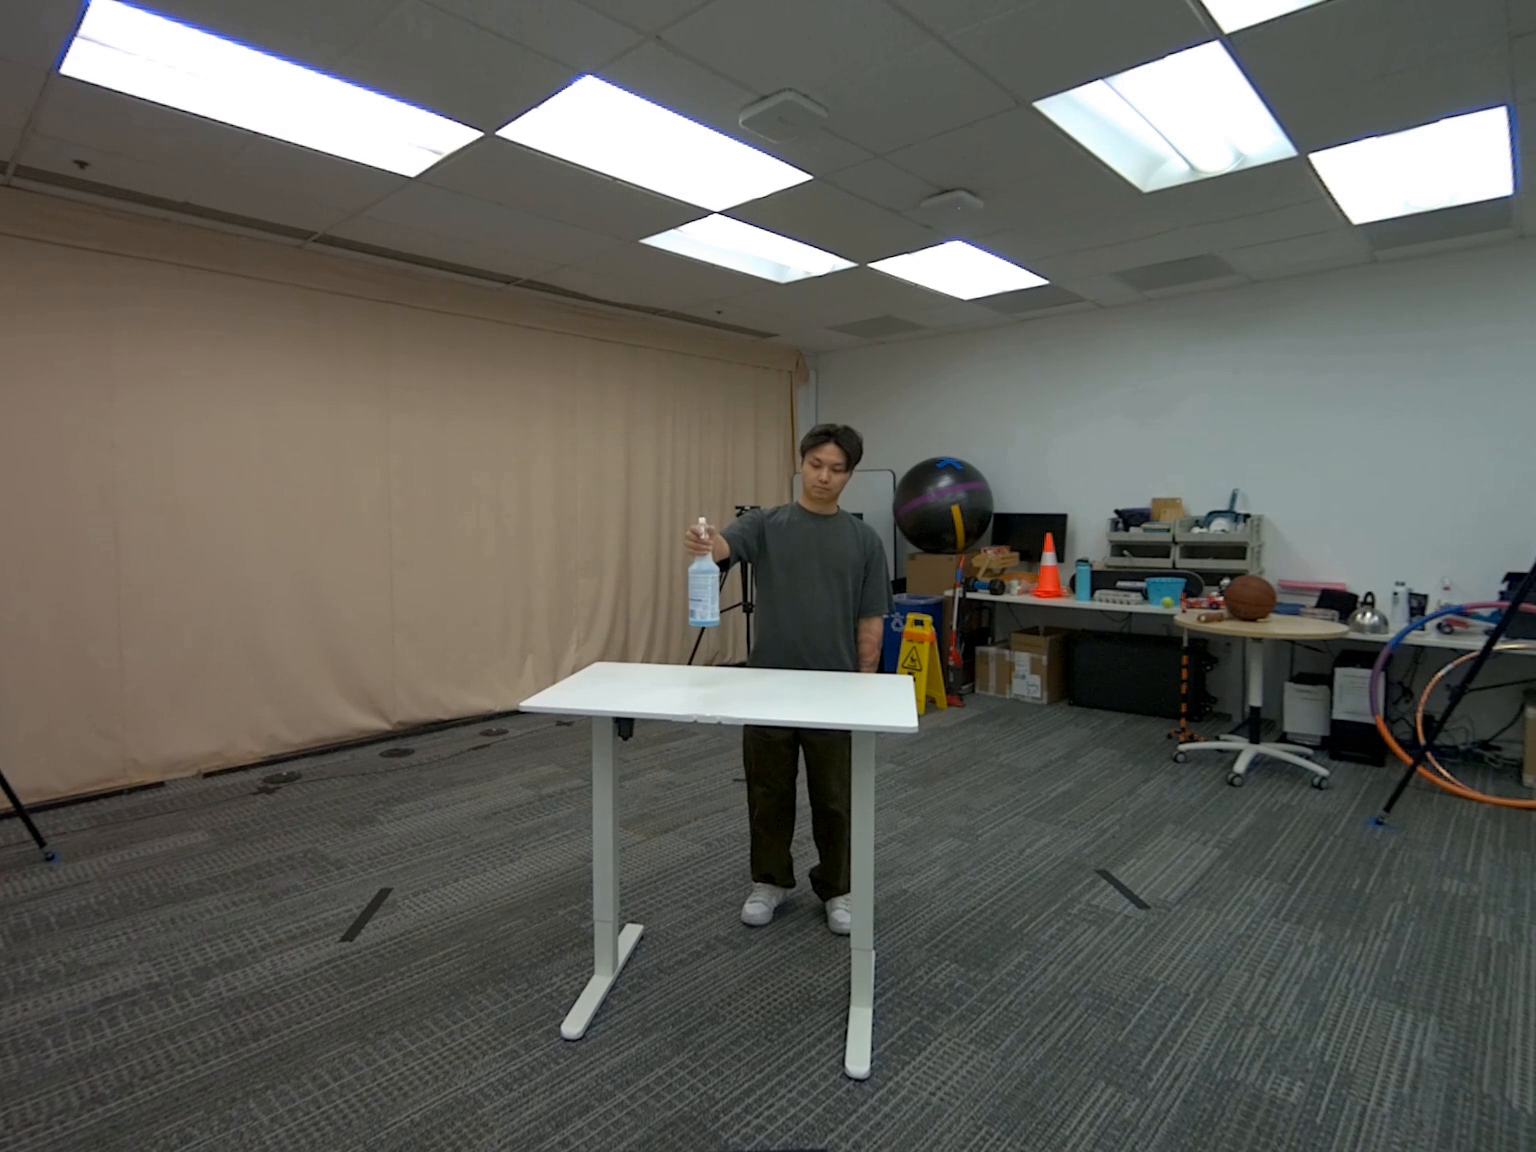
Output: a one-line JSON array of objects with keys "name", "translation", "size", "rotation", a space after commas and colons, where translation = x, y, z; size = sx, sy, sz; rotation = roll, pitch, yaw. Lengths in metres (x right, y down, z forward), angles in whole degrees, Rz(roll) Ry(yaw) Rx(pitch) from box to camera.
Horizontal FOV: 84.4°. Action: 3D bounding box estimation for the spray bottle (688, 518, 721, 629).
[{"name": "spray bottle", "translation": [-0.179, -0.011, 2.330], "size": [0.089, 0.297, 0.088], "rotation": [0, 1, 27]}]
